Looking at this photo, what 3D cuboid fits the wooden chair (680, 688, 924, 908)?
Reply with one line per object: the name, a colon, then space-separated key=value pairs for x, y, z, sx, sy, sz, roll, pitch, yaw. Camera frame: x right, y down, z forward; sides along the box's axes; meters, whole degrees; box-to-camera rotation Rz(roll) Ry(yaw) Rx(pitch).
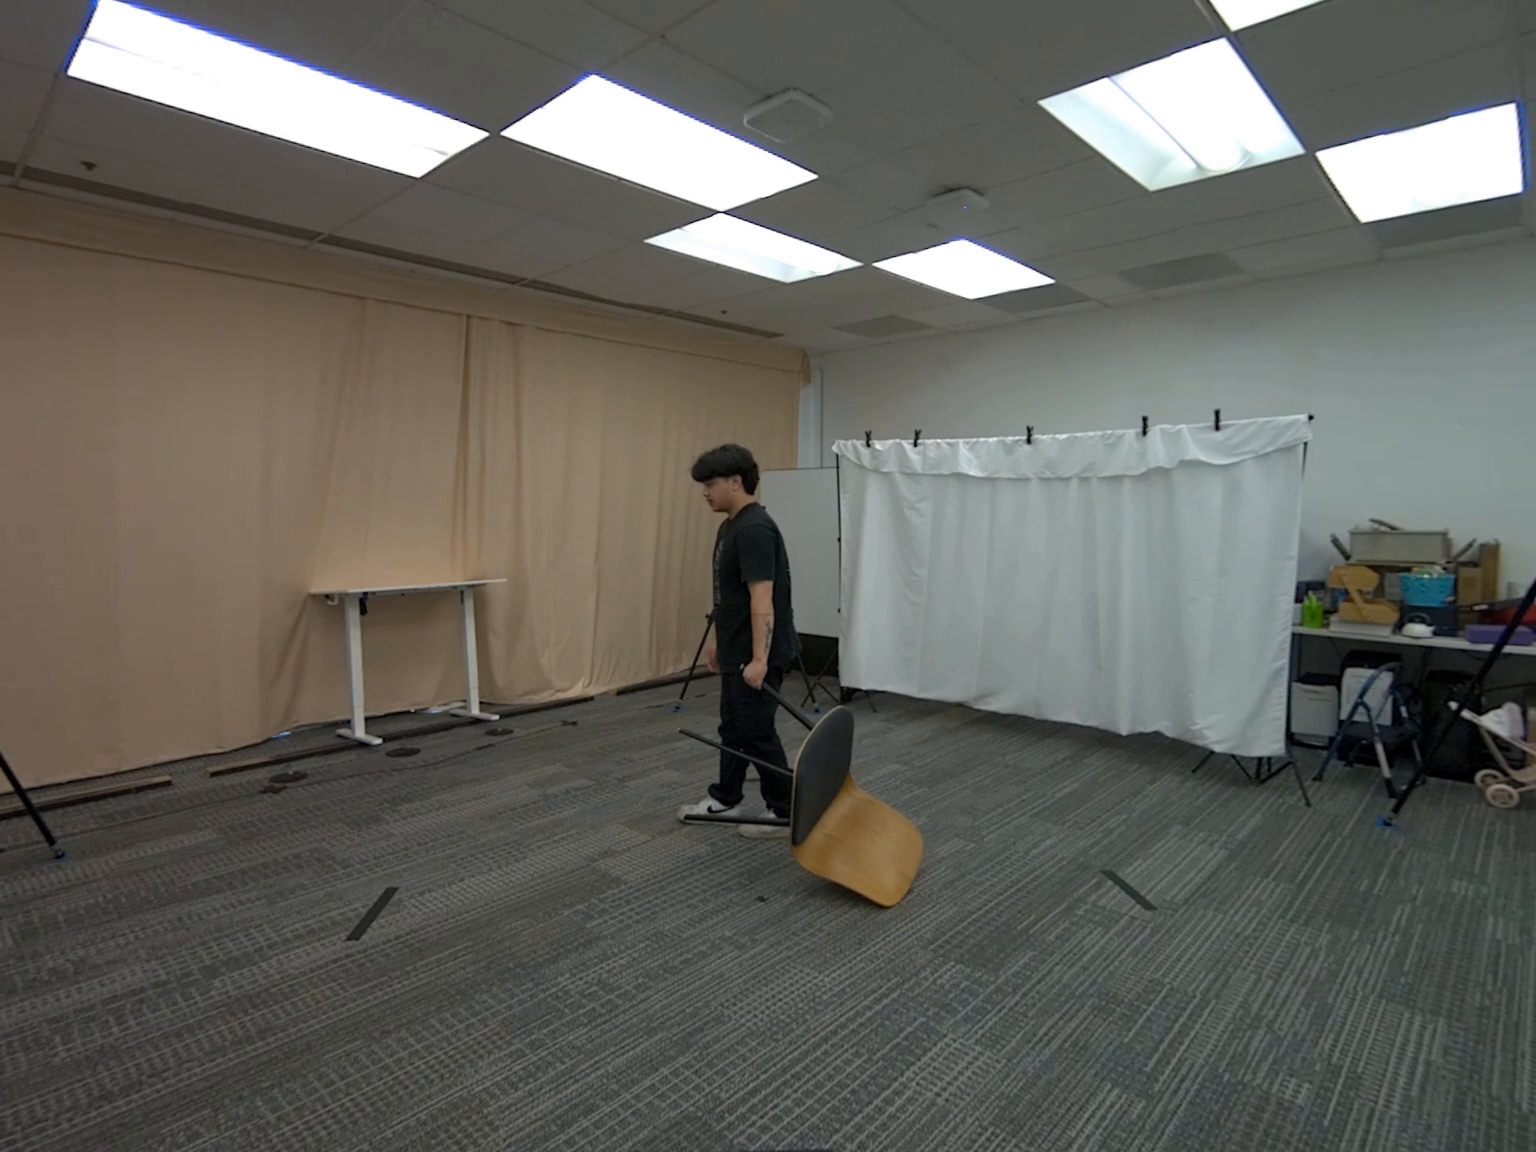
wooden chair: x=0.161 y=0.760 z=3.099 sx=0.903 sy=0.515 sz=0.471 roll=20 pitch=35 yaw=25
